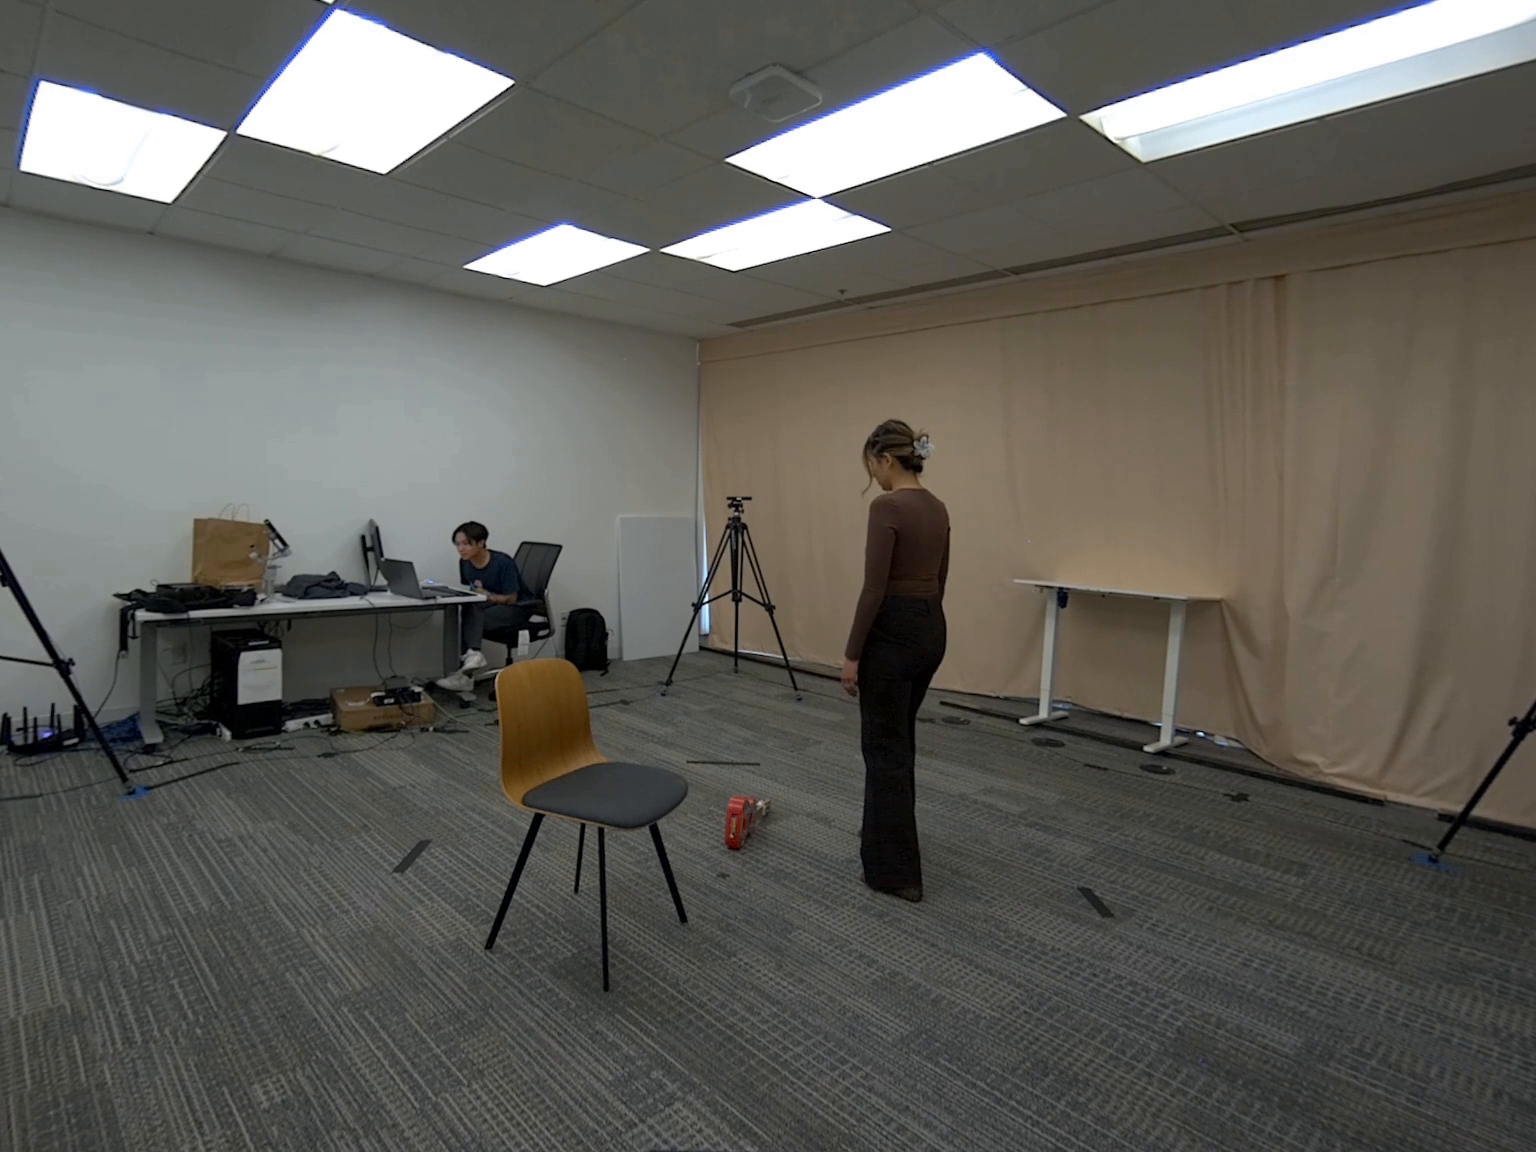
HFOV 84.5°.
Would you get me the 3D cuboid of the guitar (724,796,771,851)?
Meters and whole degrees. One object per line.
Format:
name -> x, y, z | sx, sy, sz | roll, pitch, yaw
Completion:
guitar -> -0.085, 1.029, 3.533 | 0.071, 0.195, 0.487 | 2, -14, 14
